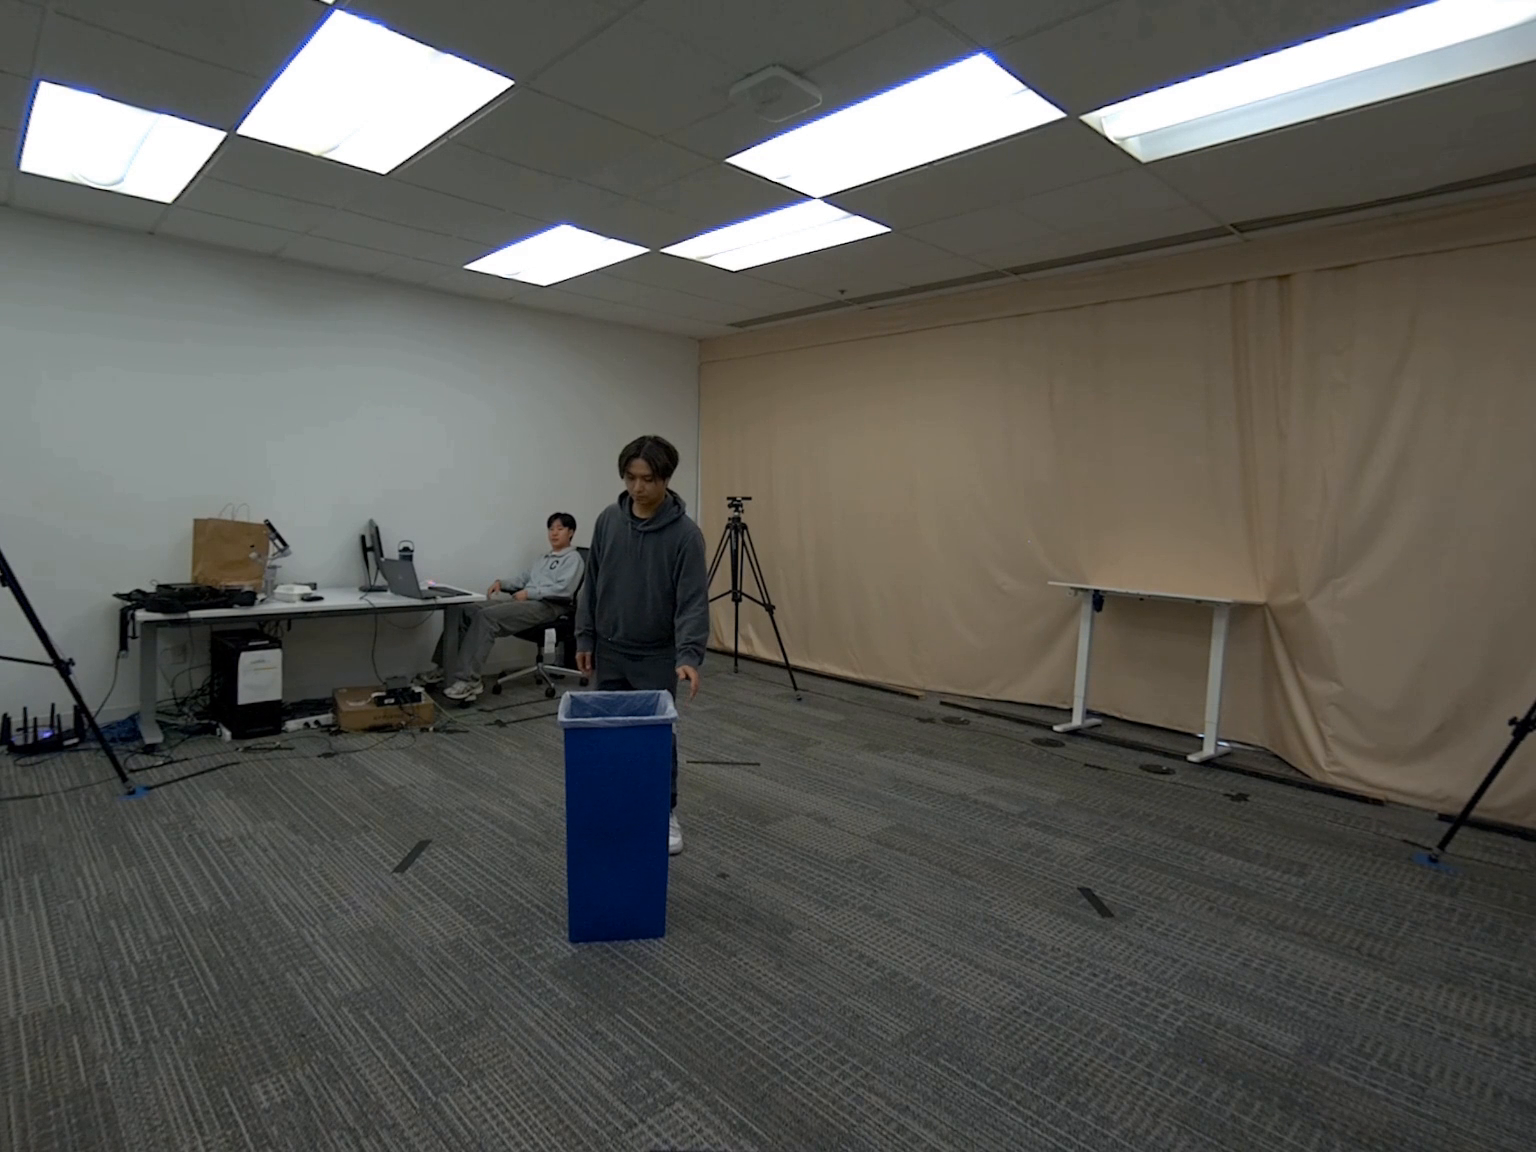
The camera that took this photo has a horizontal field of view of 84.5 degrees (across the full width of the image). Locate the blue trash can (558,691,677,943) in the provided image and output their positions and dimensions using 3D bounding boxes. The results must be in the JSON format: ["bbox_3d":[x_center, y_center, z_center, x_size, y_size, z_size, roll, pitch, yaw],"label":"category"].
[{"bbox_3d":[-0.507,0.773,2.758,0.371,0.712,0.382,1,3,-10],"label":"blue trash can"}]
